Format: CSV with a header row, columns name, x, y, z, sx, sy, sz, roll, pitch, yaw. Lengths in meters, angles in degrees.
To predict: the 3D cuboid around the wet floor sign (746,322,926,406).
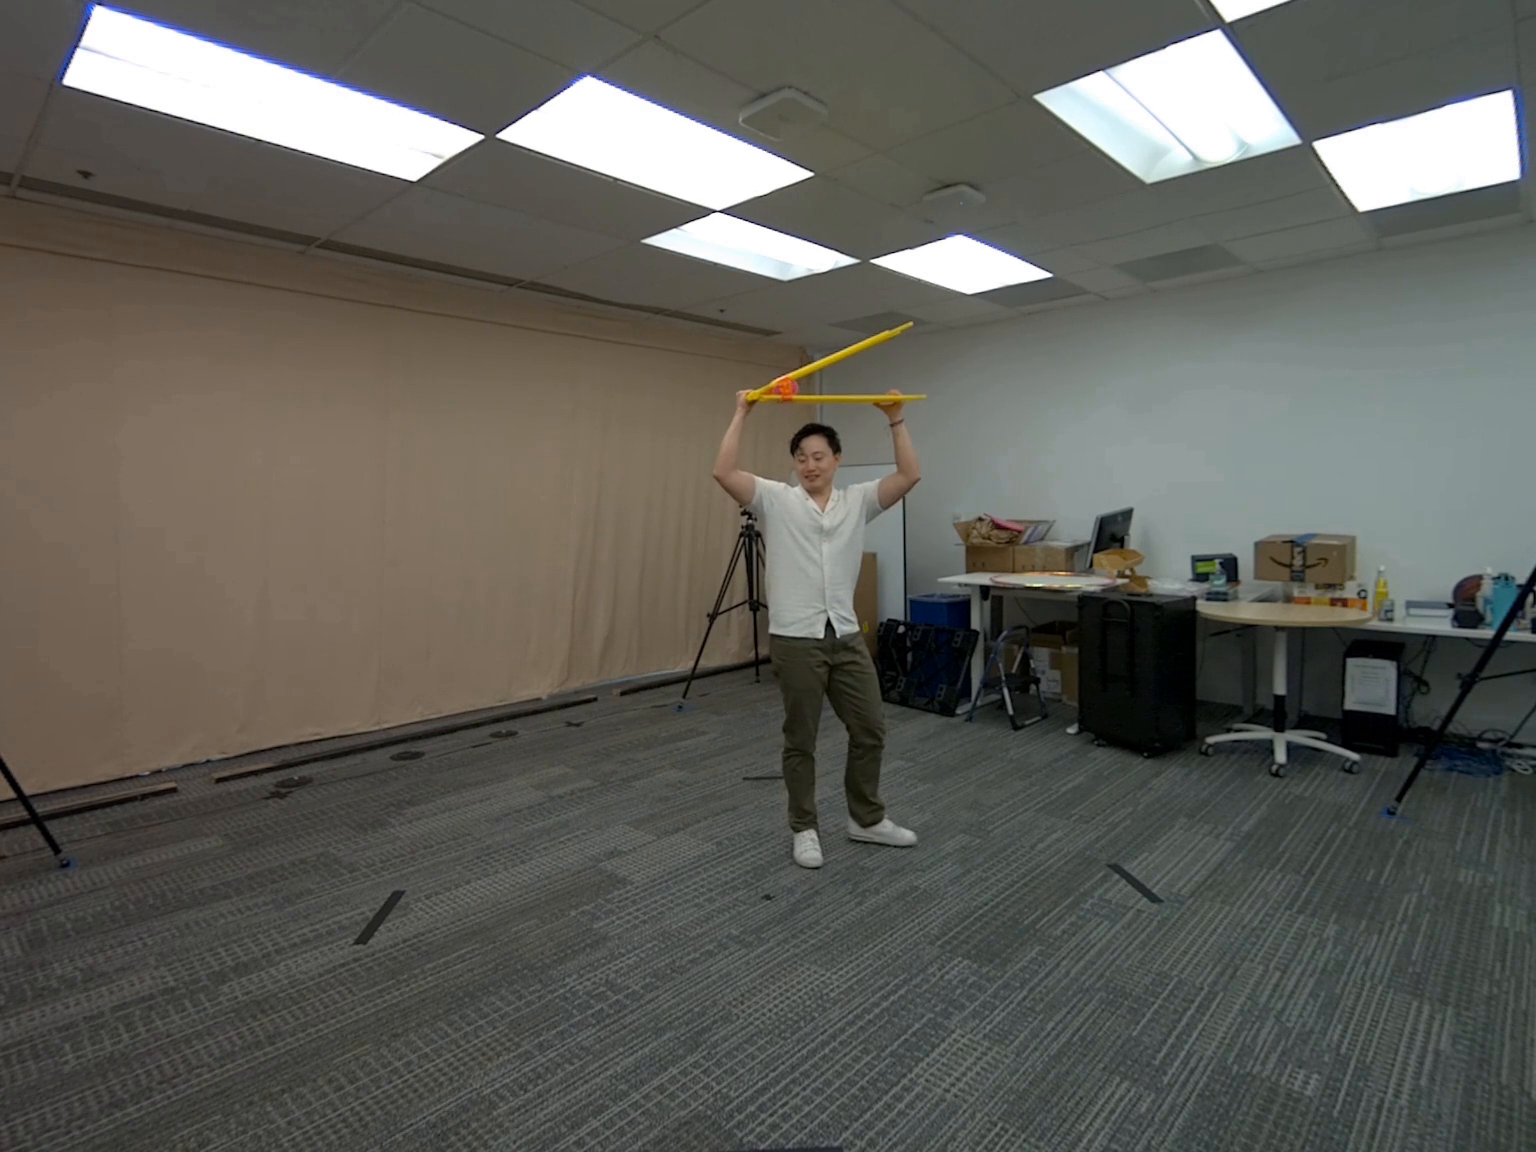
name,x,y,z,sx,sy,sz,roll,pitch,yaw
wet floor sign,0.241,-0.741,3.206,0.646,0.288,0.284,-11,8,0
